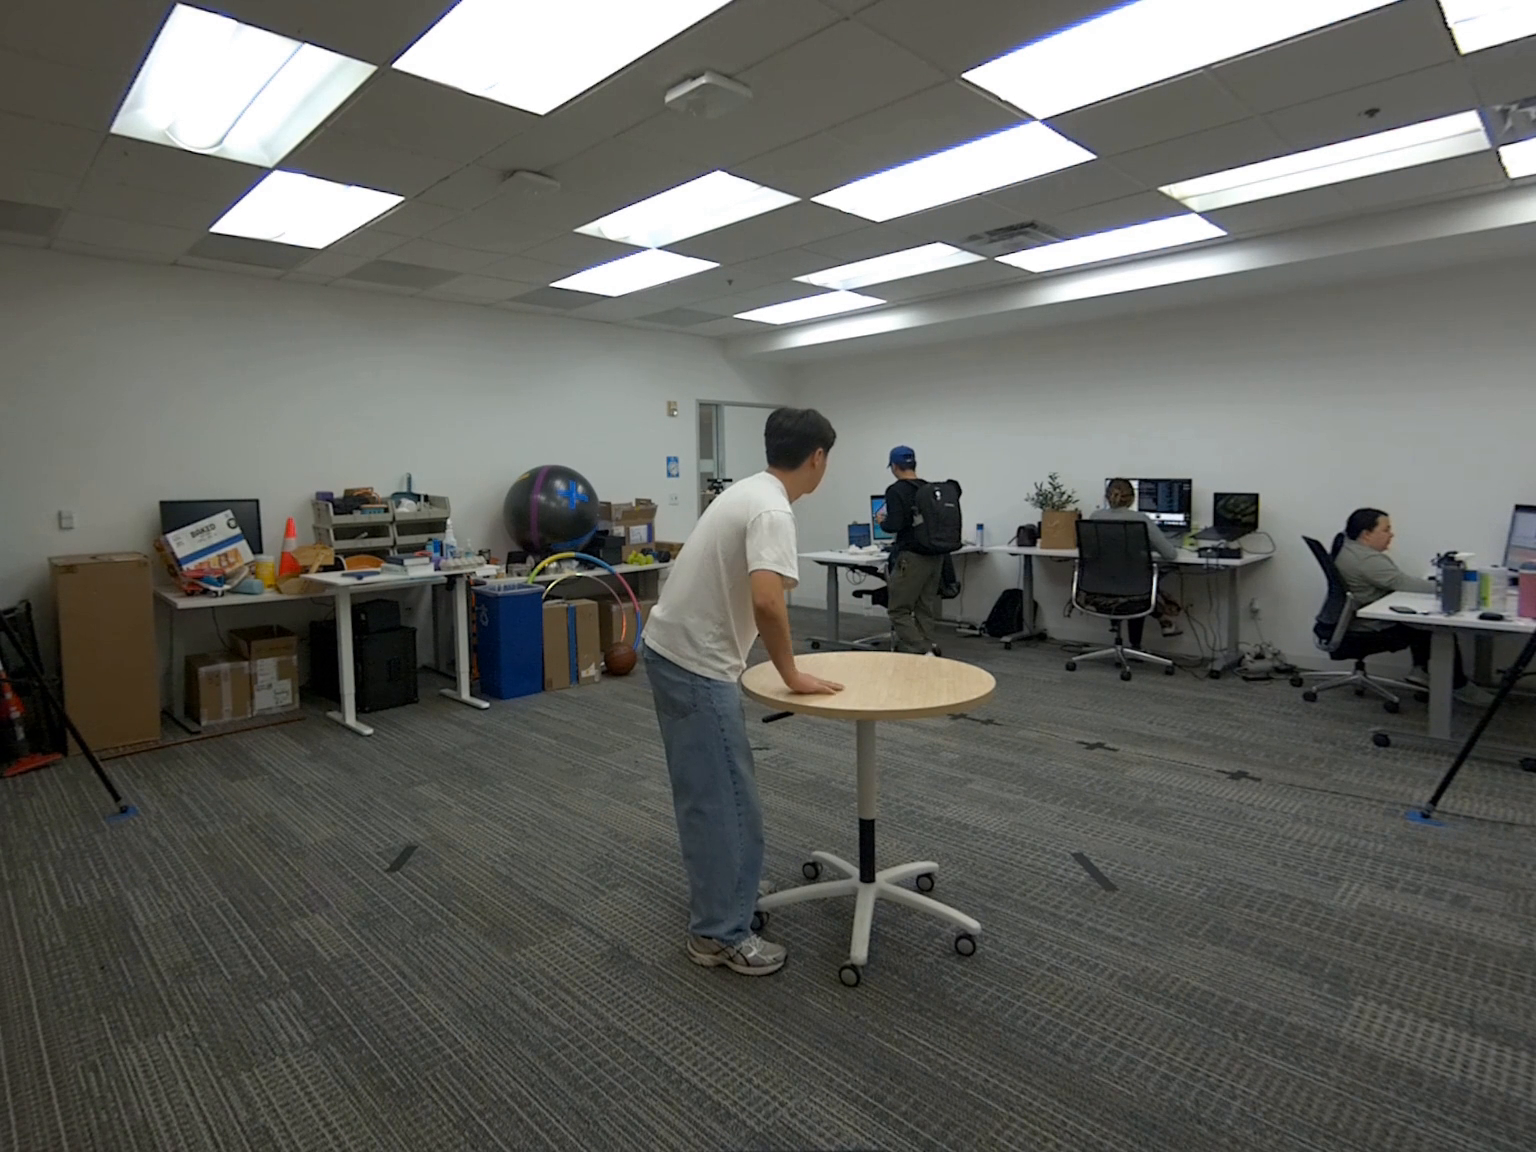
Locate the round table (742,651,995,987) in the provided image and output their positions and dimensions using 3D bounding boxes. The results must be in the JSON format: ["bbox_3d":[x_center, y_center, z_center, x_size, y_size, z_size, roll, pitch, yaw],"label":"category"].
[{"bbox_3d":[0.308,0.698,2.660,0.763,0.791,0.768,-1,5,-2],"label":"round table"}]
